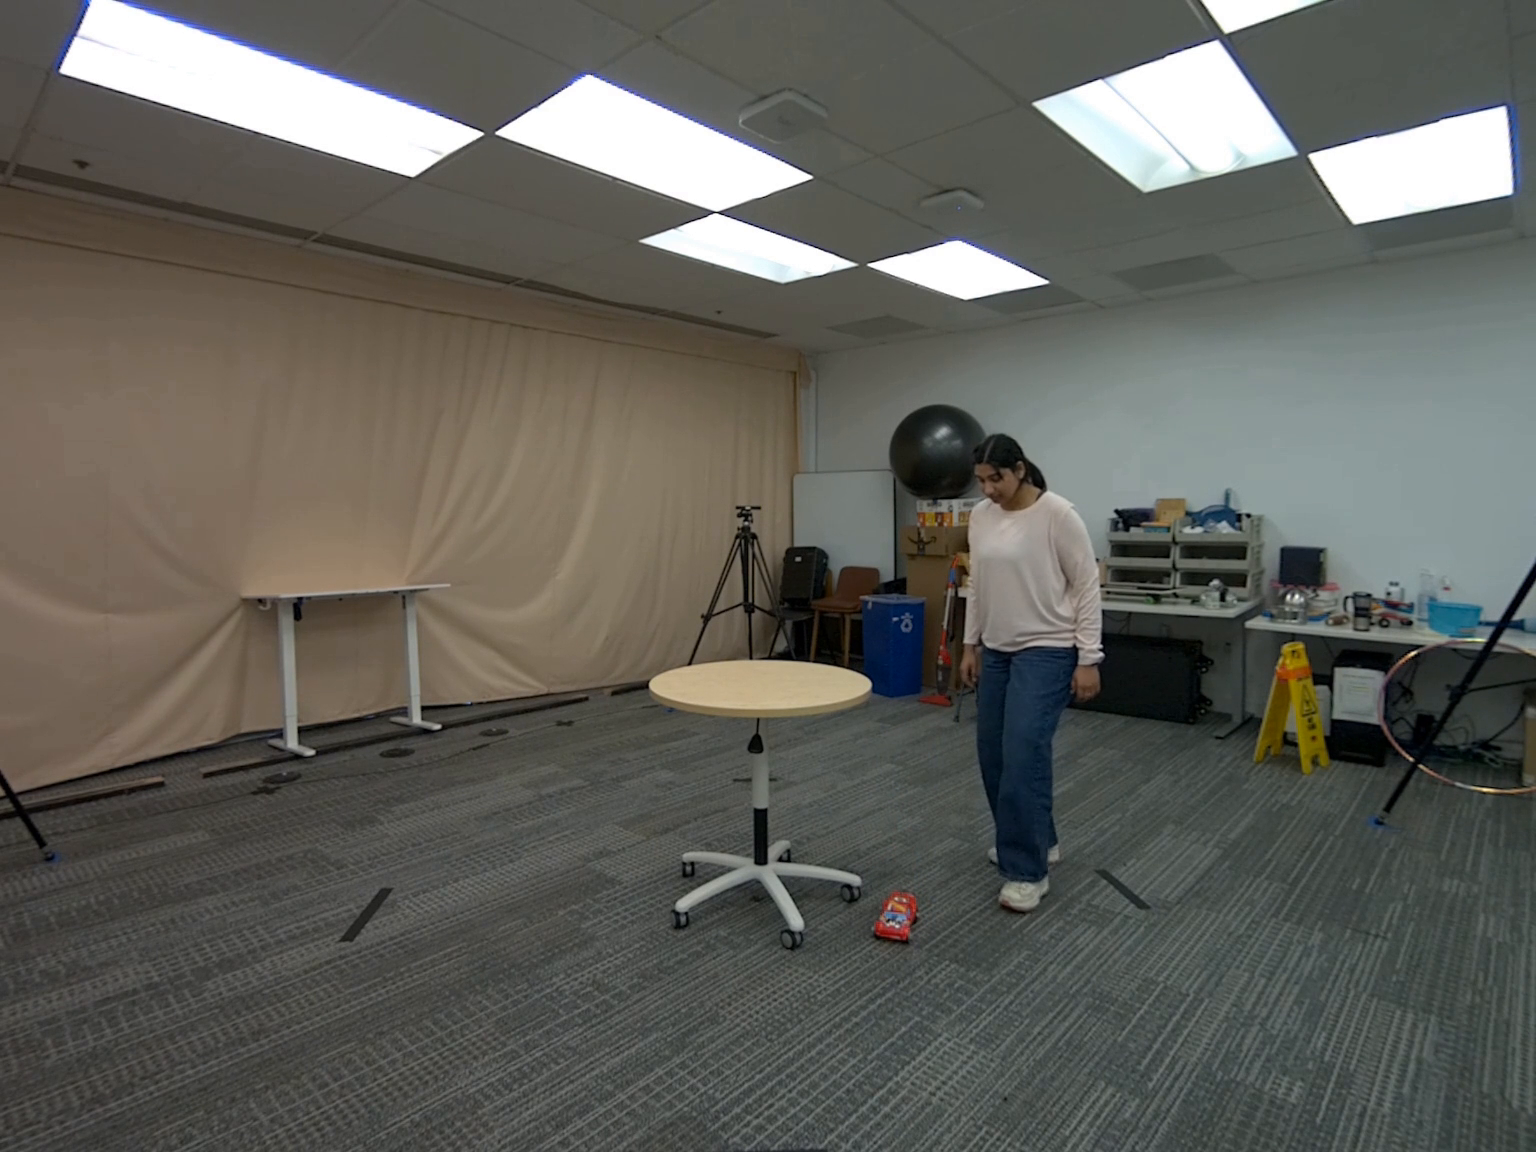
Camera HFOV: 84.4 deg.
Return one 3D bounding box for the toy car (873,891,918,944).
[{"bbox_3d":[0.429,1.124,2.783,0.133,0.082,0.252,0,16,19],"label":"toy car"}]
